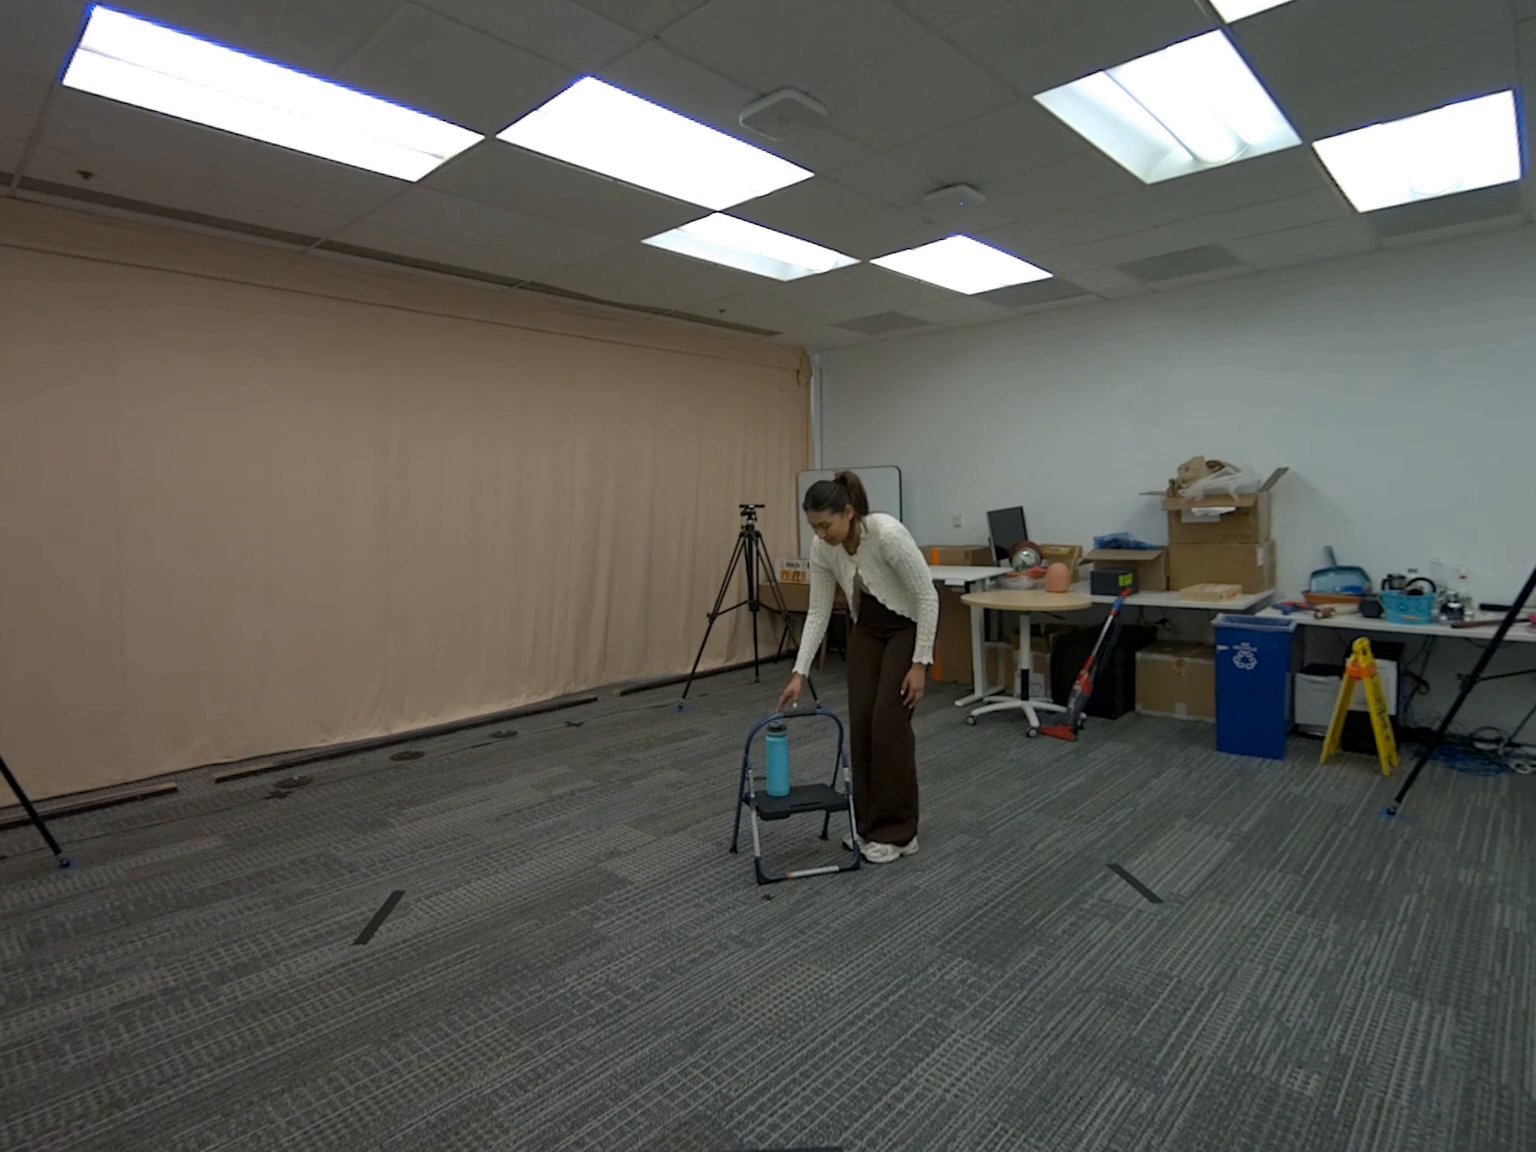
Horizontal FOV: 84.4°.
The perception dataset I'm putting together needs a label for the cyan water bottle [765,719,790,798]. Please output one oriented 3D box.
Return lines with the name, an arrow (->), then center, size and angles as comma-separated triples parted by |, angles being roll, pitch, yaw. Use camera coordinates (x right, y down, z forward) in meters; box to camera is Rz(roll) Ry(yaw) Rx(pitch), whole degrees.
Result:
cyan water bottle -> 0.043, 0.714, 3.307 | 0.092, 0.283, 0.092 | -2, 1, -2
